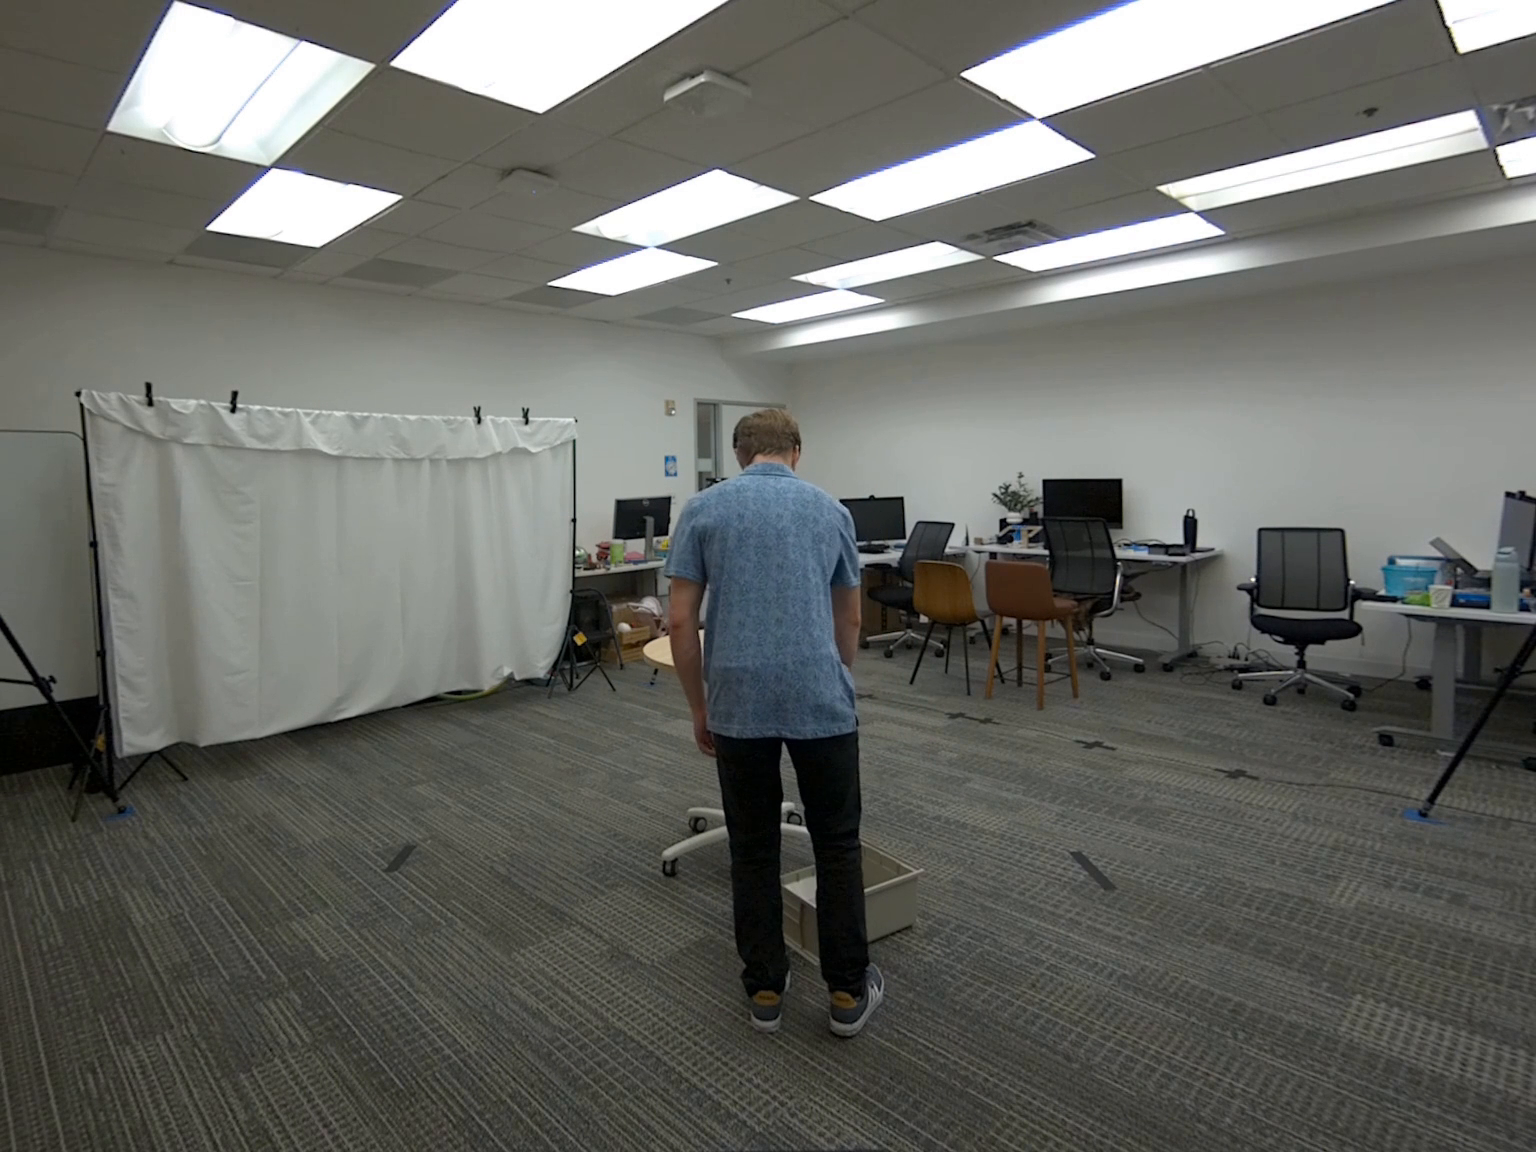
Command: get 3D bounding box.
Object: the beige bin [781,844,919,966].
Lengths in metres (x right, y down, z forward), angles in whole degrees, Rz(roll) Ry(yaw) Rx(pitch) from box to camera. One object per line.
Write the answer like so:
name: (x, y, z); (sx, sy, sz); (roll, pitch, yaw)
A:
beige bin: (0.208, 0.999, 2.684); (0.411, 0.188, 0.389); (-4, 8, -35)
